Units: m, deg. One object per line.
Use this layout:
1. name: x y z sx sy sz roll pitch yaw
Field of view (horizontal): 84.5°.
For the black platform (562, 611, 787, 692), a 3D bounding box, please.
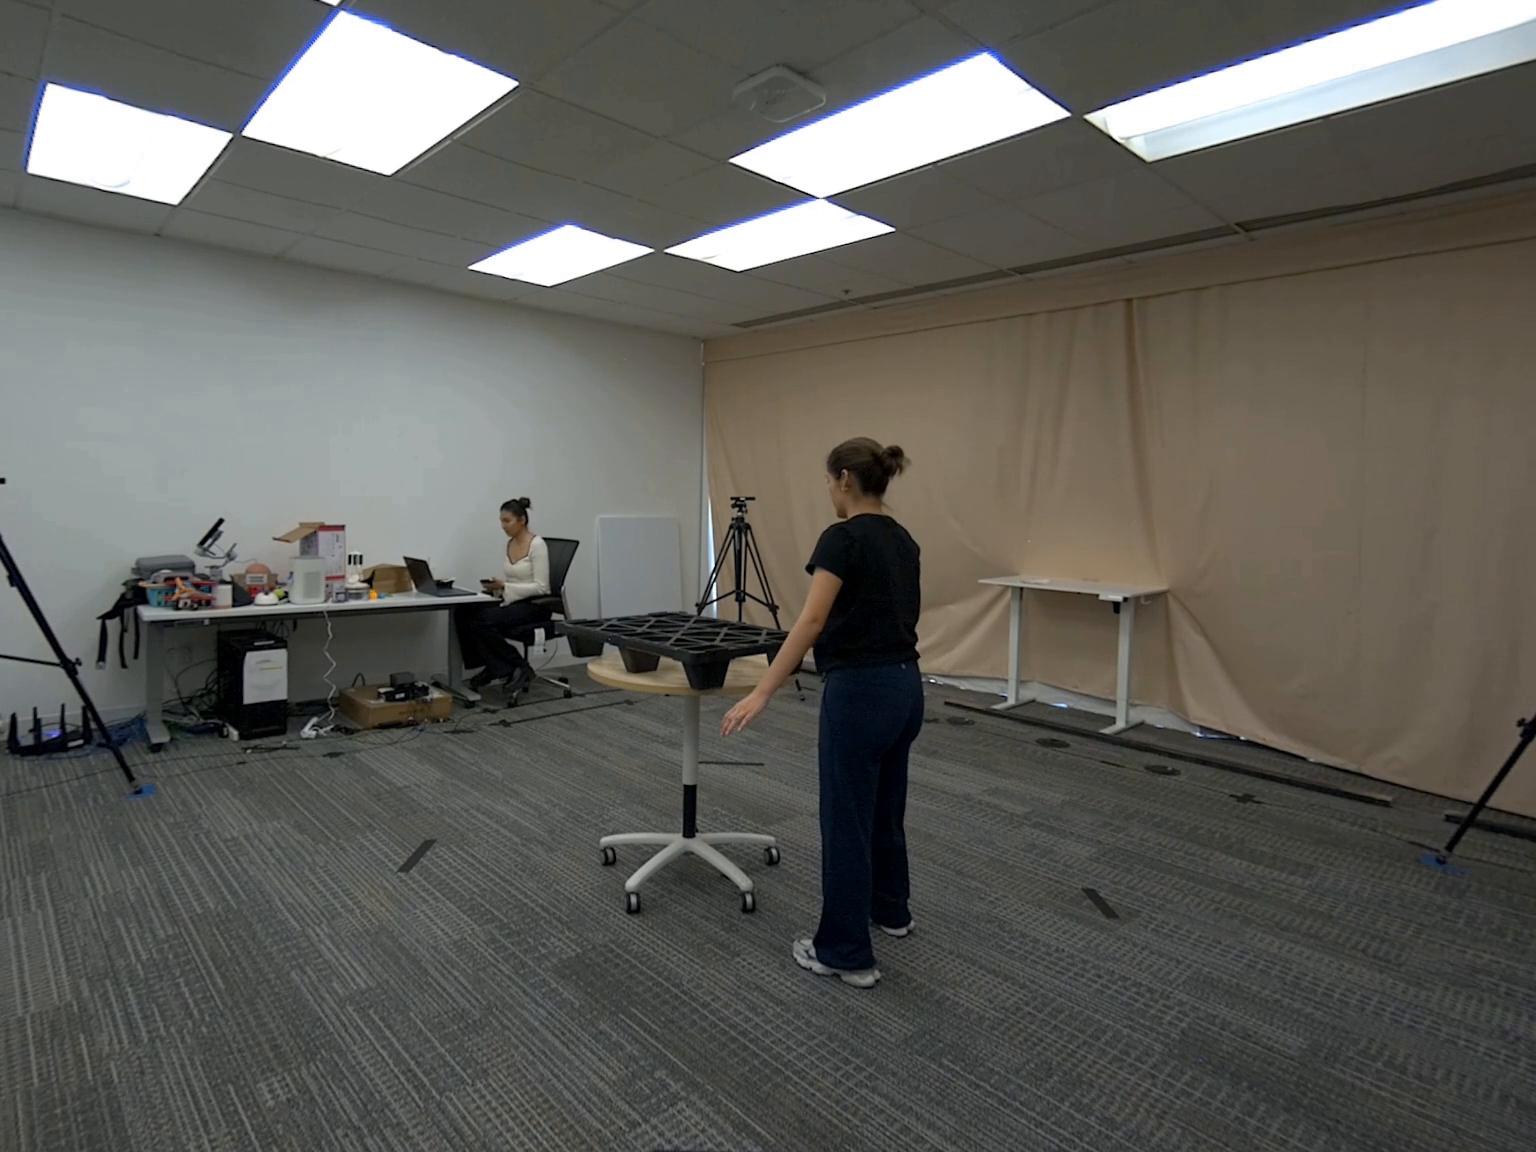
1. black platform: -0.314 0.263 3.044 0.591 0.143 0.826 -4 7 -45
